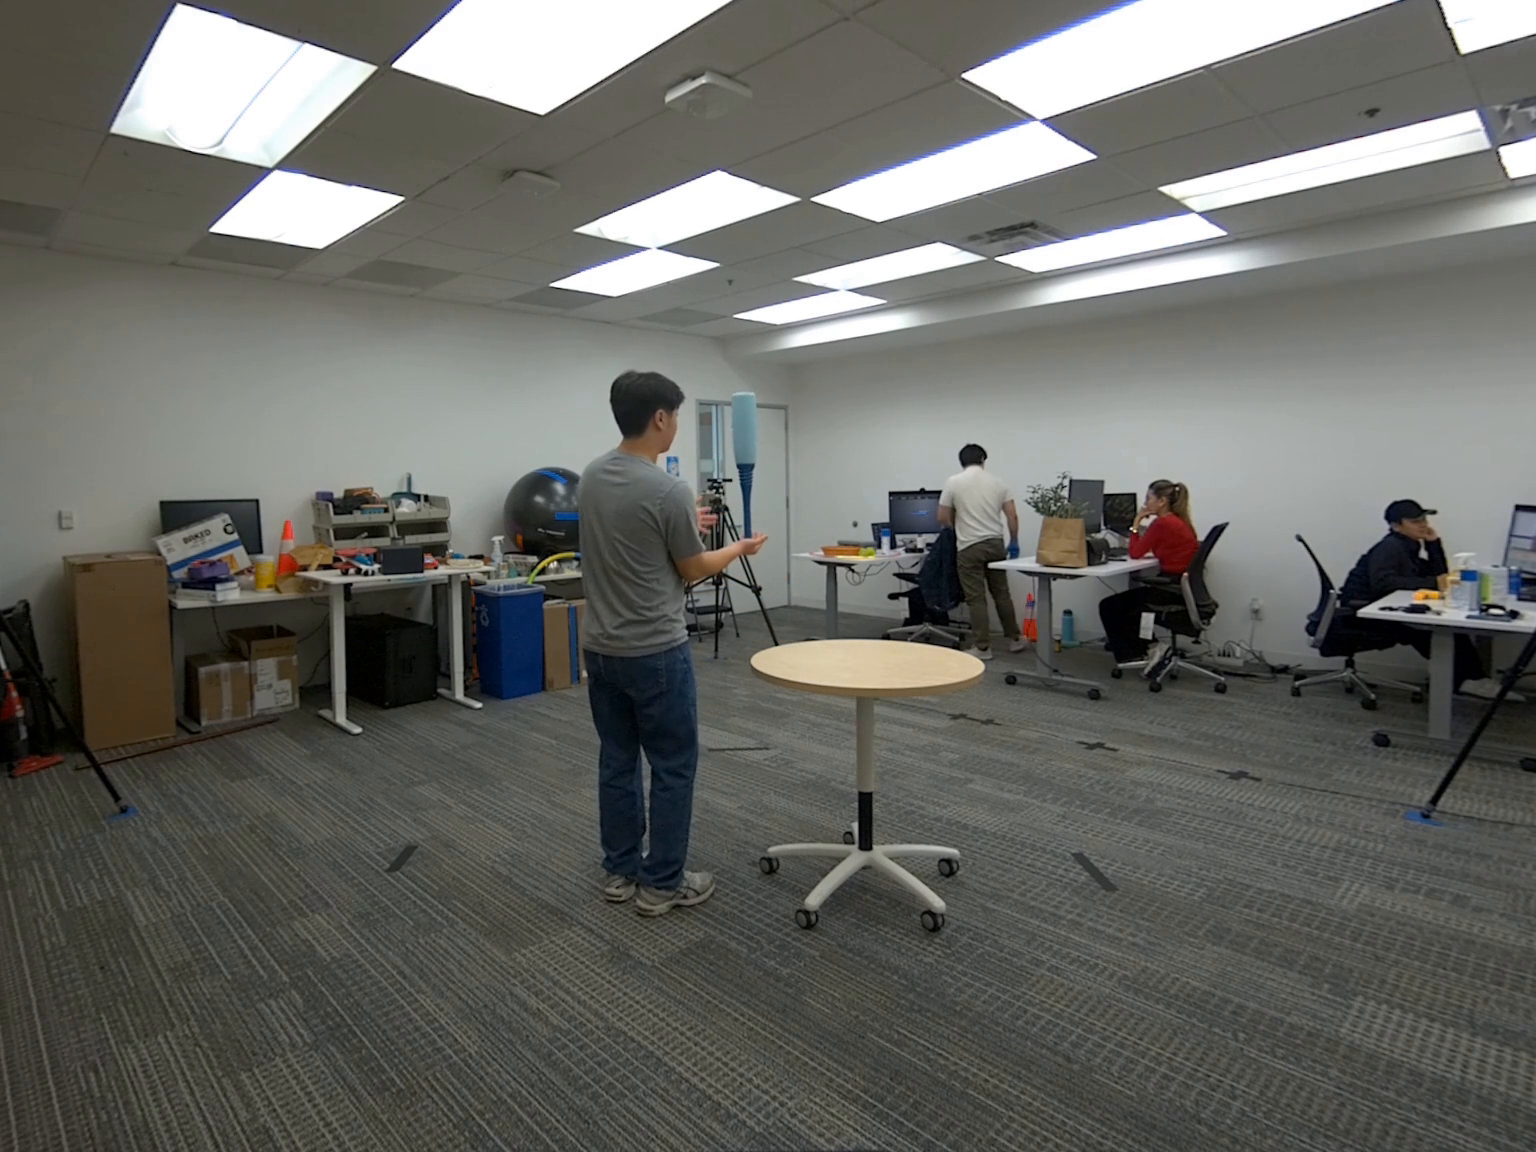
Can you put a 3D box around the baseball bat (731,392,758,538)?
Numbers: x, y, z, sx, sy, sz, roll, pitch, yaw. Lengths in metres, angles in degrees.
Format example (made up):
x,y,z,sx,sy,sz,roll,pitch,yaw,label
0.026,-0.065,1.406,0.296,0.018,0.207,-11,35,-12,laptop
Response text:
x,y,z,sx,sy,sz,roll,pitch,yaw,label
-0.077,-0.379,3.035,0.089,0.541,0.089,-1,4,-2,baseball bat
